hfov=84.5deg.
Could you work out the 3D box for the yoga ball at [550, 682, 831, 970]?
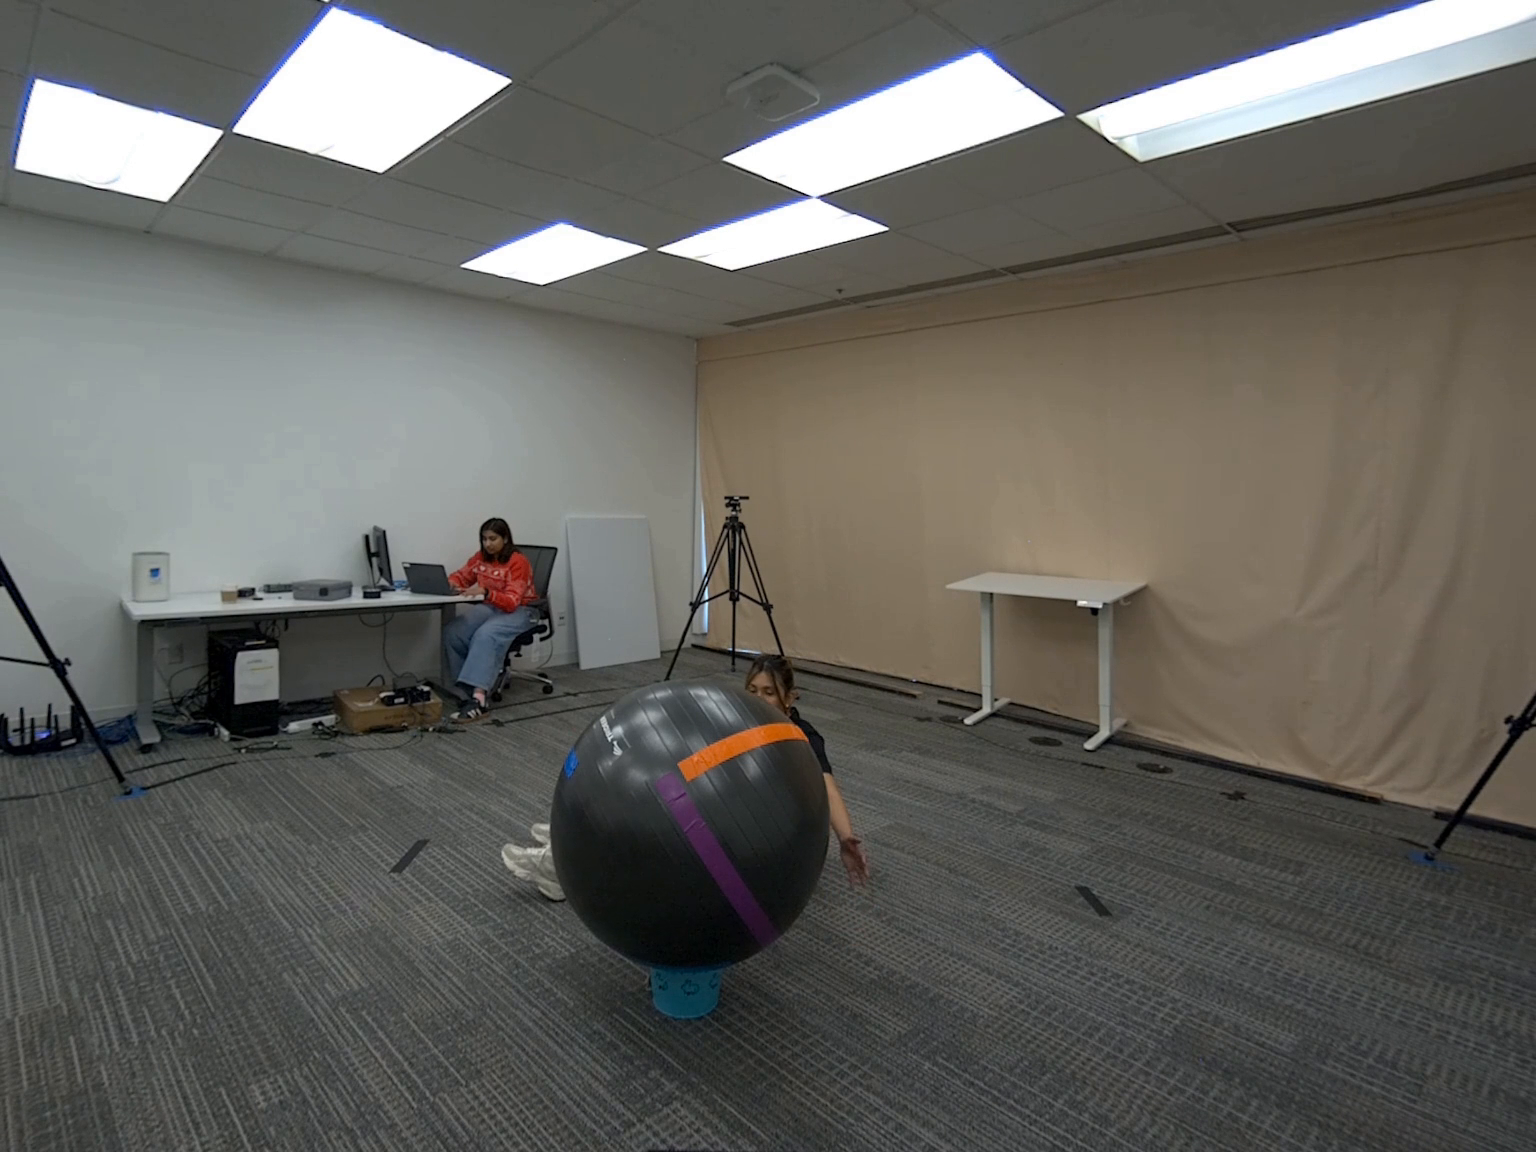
[{"bbox_3d":[-0.210,0.672,2.297,0.757,0.756,0.761,1,4,-1],"label":"yoga ball"}]
